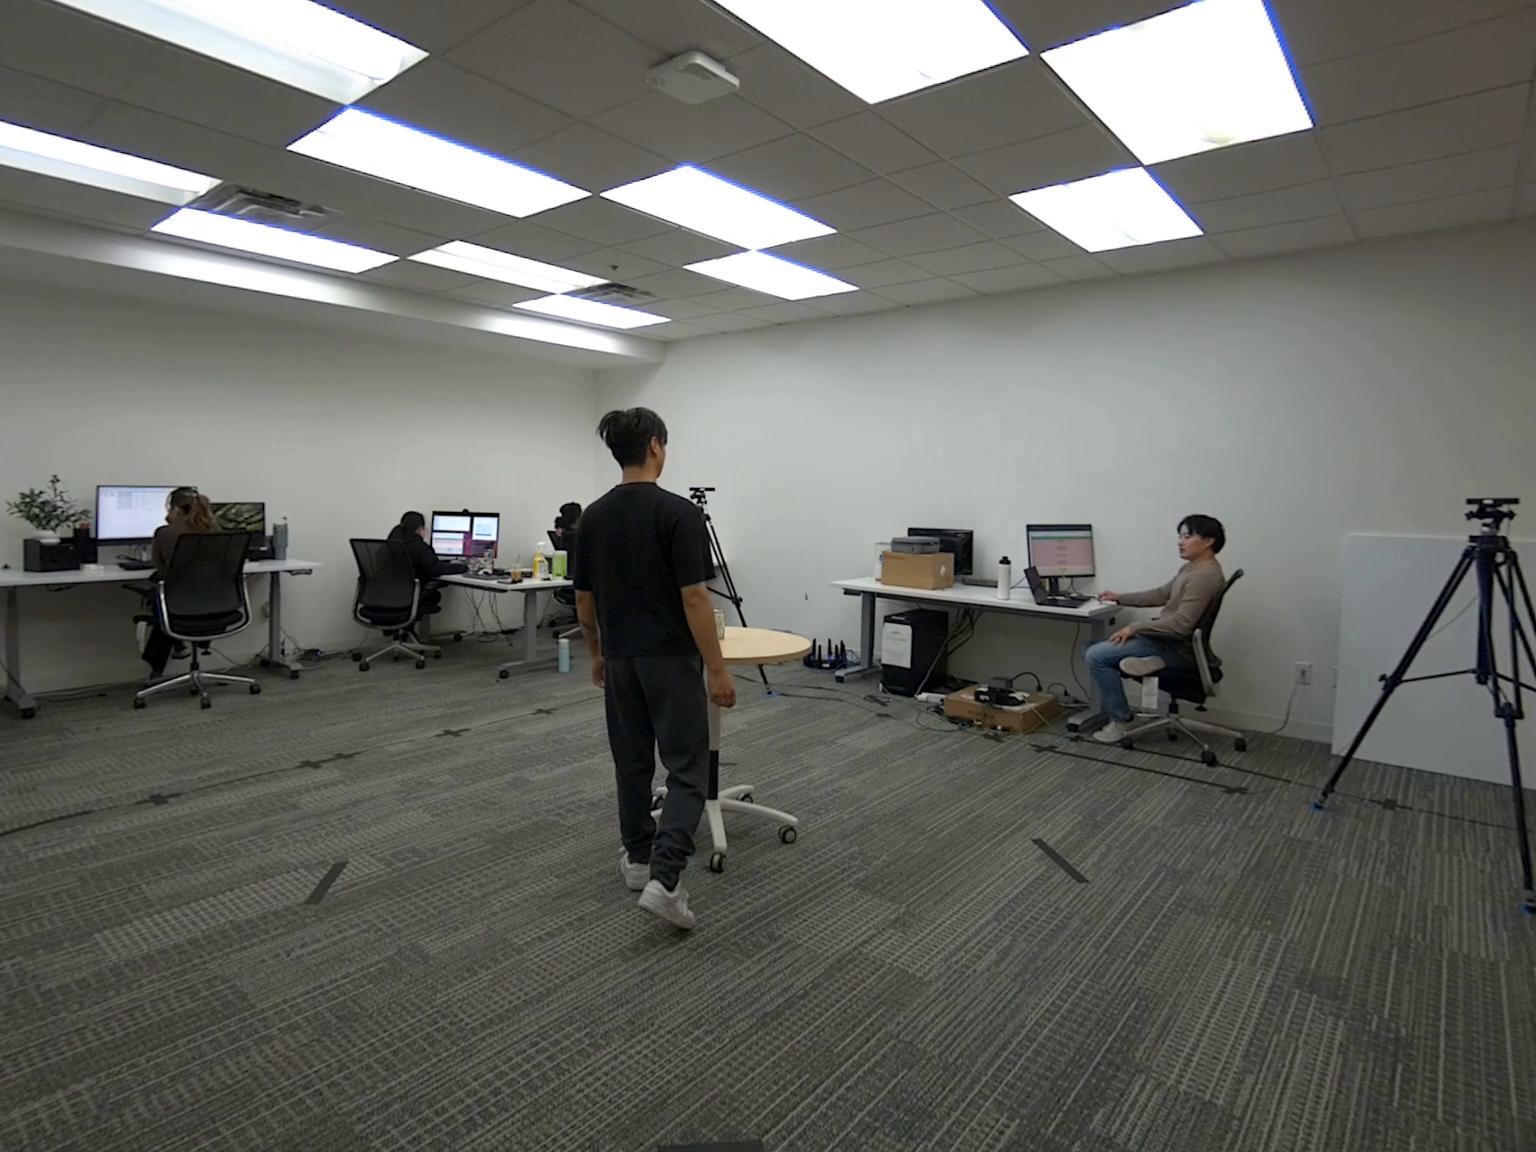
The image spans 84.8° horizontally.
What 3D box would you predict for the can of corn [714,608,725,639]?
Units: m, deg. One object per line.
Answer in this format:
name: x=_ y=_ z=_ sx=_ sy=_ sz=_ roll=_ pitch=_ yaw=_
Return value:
can of corn: x=-0.222 y=0.195 z=3.466 sx=0.074 sy=0.111 sz=0.074 roll=4 pitch=1 yaw=-2
